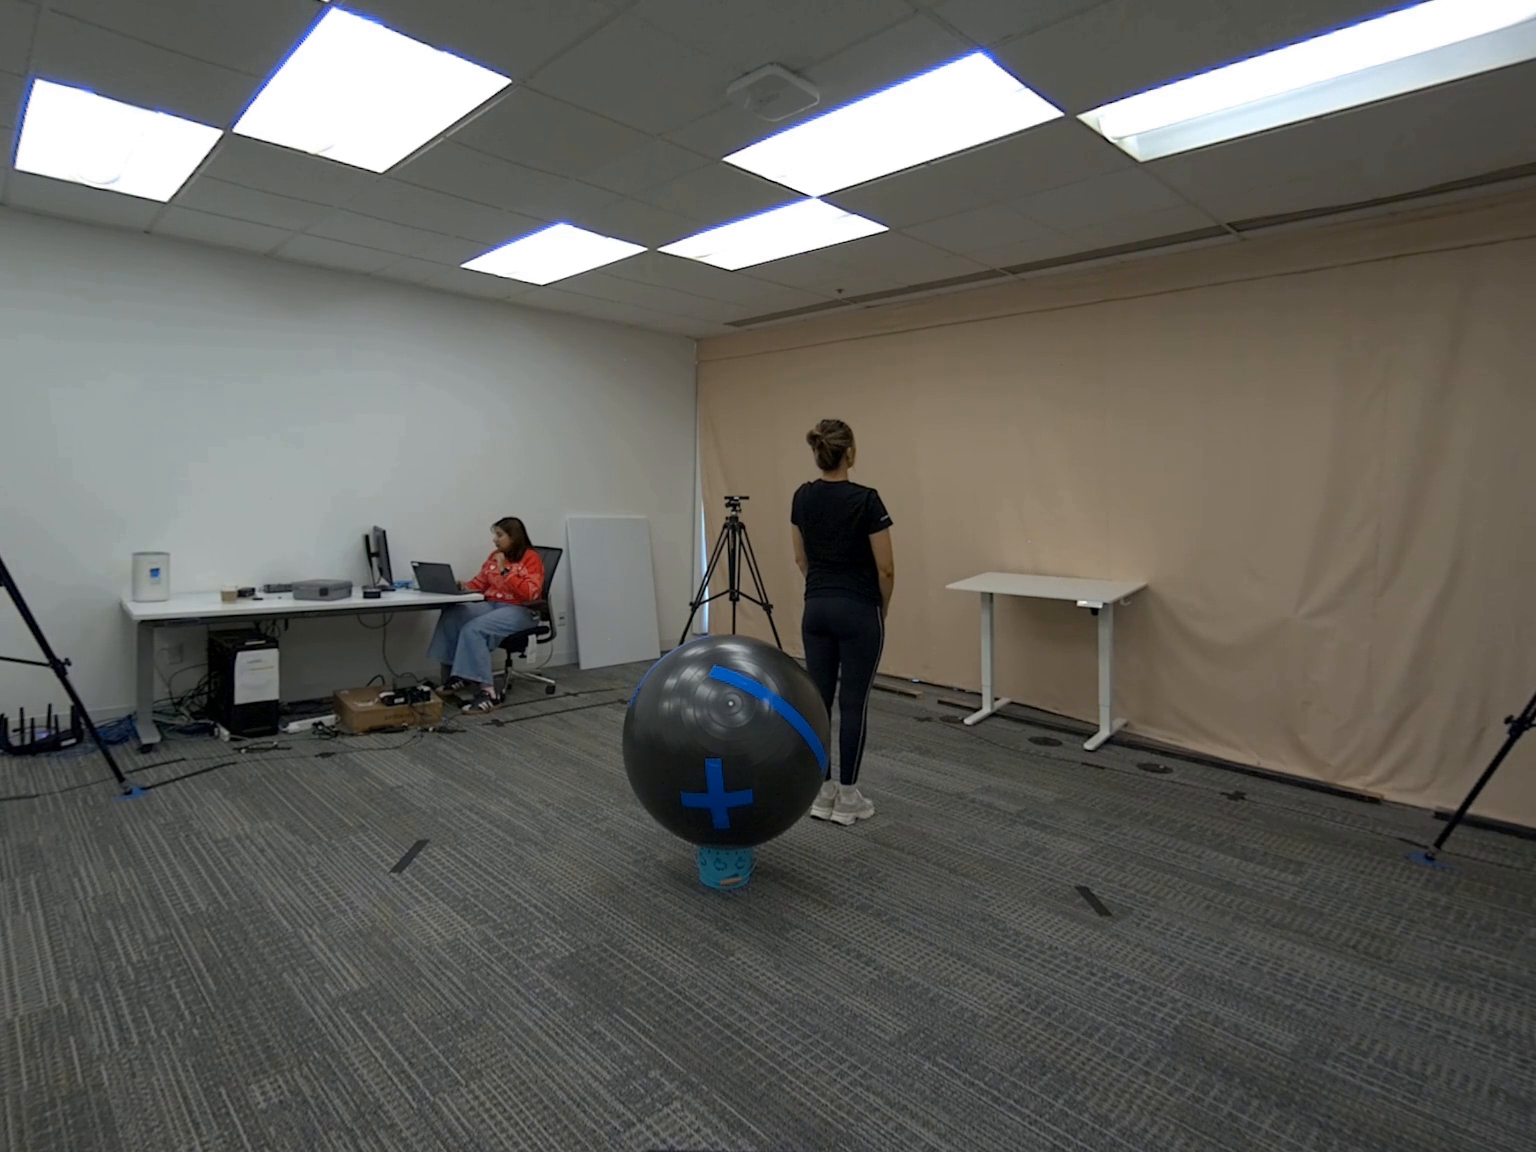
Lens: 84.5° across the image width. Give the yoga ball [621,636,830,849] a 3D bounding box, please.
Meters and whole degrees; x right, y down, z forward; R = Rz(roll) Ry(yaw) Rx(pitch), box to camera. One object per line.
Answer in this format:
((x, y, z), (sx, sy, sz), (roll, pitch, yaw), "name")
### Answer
((-0.155, 0.597, 3.056), (0.757, 0.756, 0.761), (1, 4, -1), "yoga ball")
